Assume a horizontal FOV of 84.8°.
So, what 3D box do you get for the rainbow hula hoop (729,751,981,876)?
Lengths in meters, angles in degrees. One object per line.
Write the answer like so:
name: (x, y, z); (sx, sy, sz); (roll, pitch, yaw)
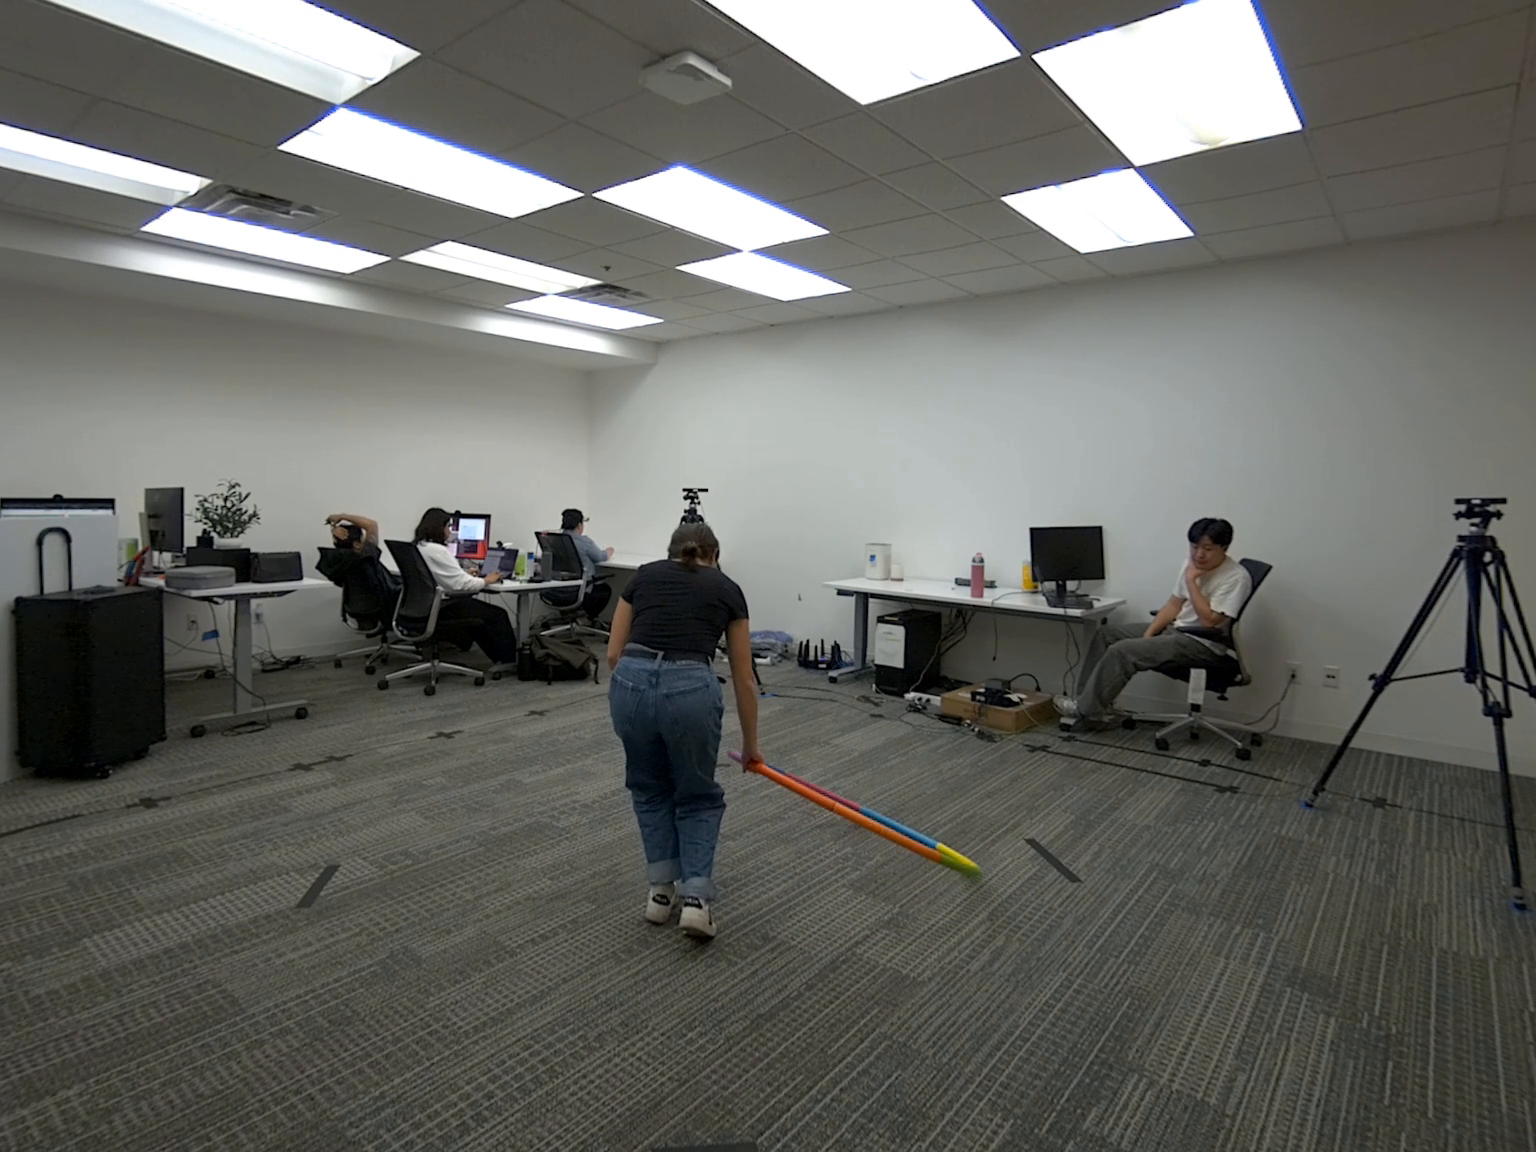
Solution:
rainbow hula hoop: (0.293, 0.834, 3.114); (0.984, 0.036, 0.969); (24, -10, 3)
